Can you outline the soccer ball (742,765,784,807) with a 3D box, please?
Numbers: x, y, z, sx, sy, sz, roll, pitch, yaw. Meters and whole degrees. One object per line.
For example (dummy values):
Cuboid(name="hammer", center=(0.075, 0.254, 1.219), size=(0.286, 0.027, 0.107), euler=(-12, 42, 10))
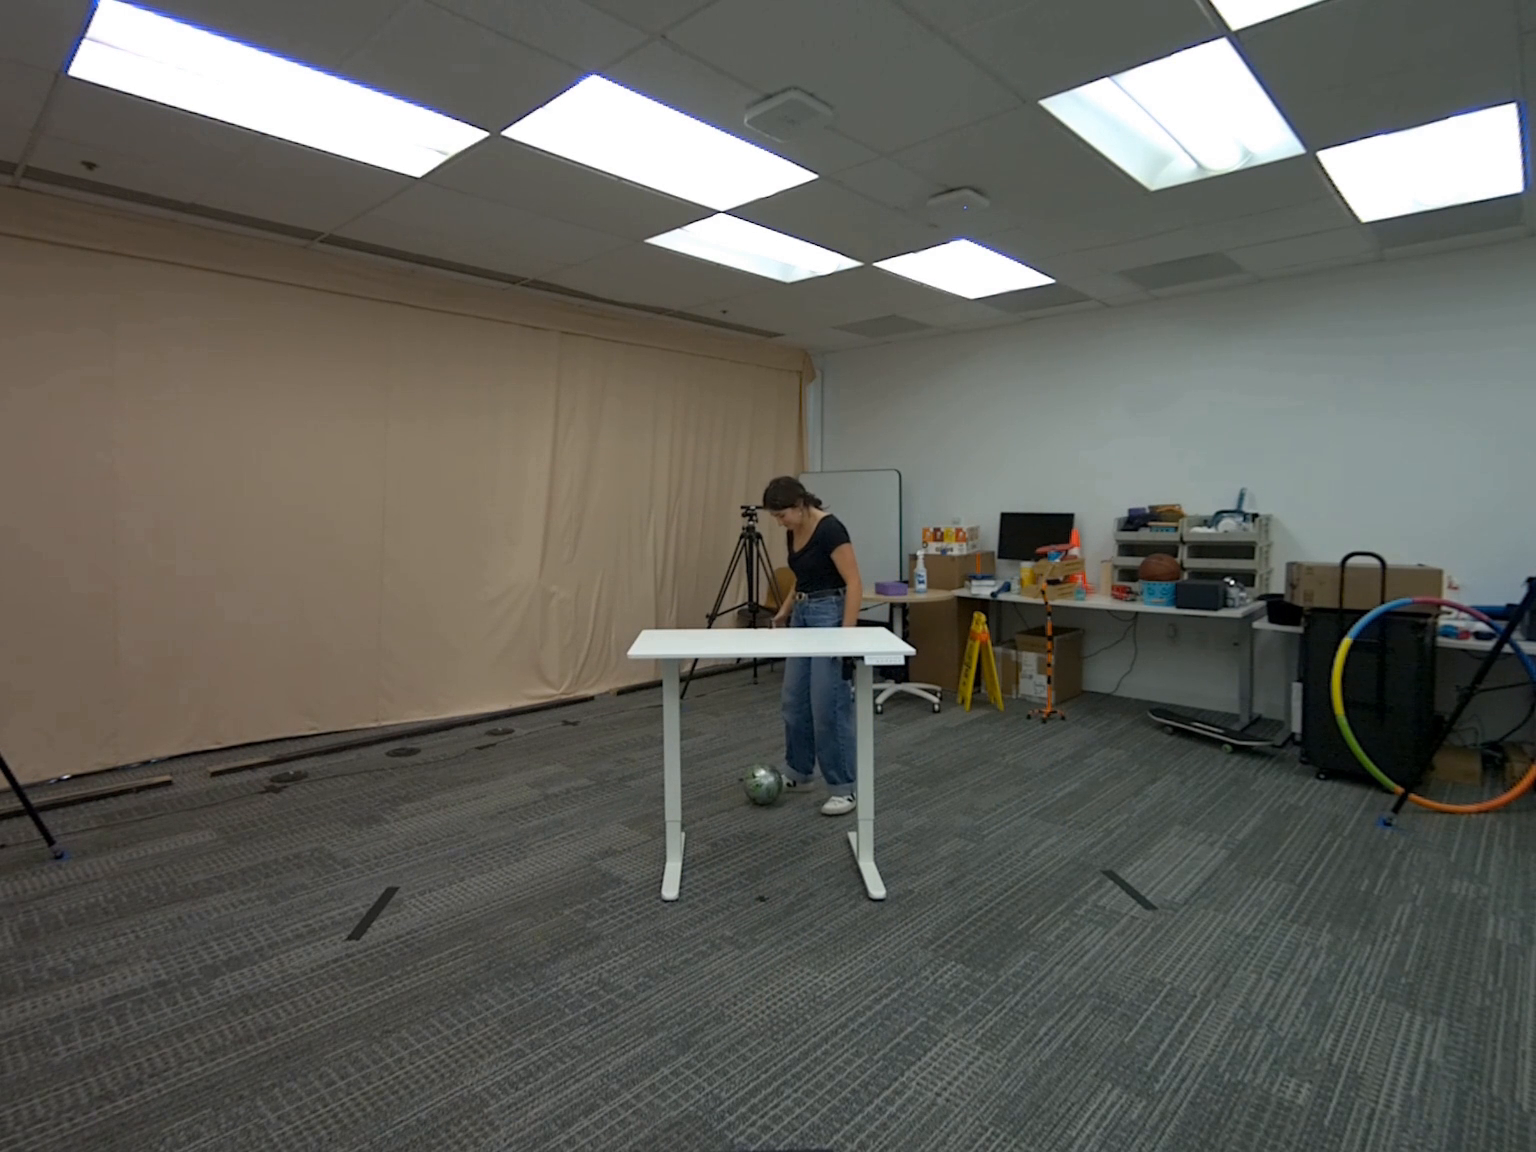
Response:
Cuboid(name="soccer ball", center=(-0.014, 0.983, 3.951), size=(0.187, 0.187, 0.188), euler=(0, 4, -2))
